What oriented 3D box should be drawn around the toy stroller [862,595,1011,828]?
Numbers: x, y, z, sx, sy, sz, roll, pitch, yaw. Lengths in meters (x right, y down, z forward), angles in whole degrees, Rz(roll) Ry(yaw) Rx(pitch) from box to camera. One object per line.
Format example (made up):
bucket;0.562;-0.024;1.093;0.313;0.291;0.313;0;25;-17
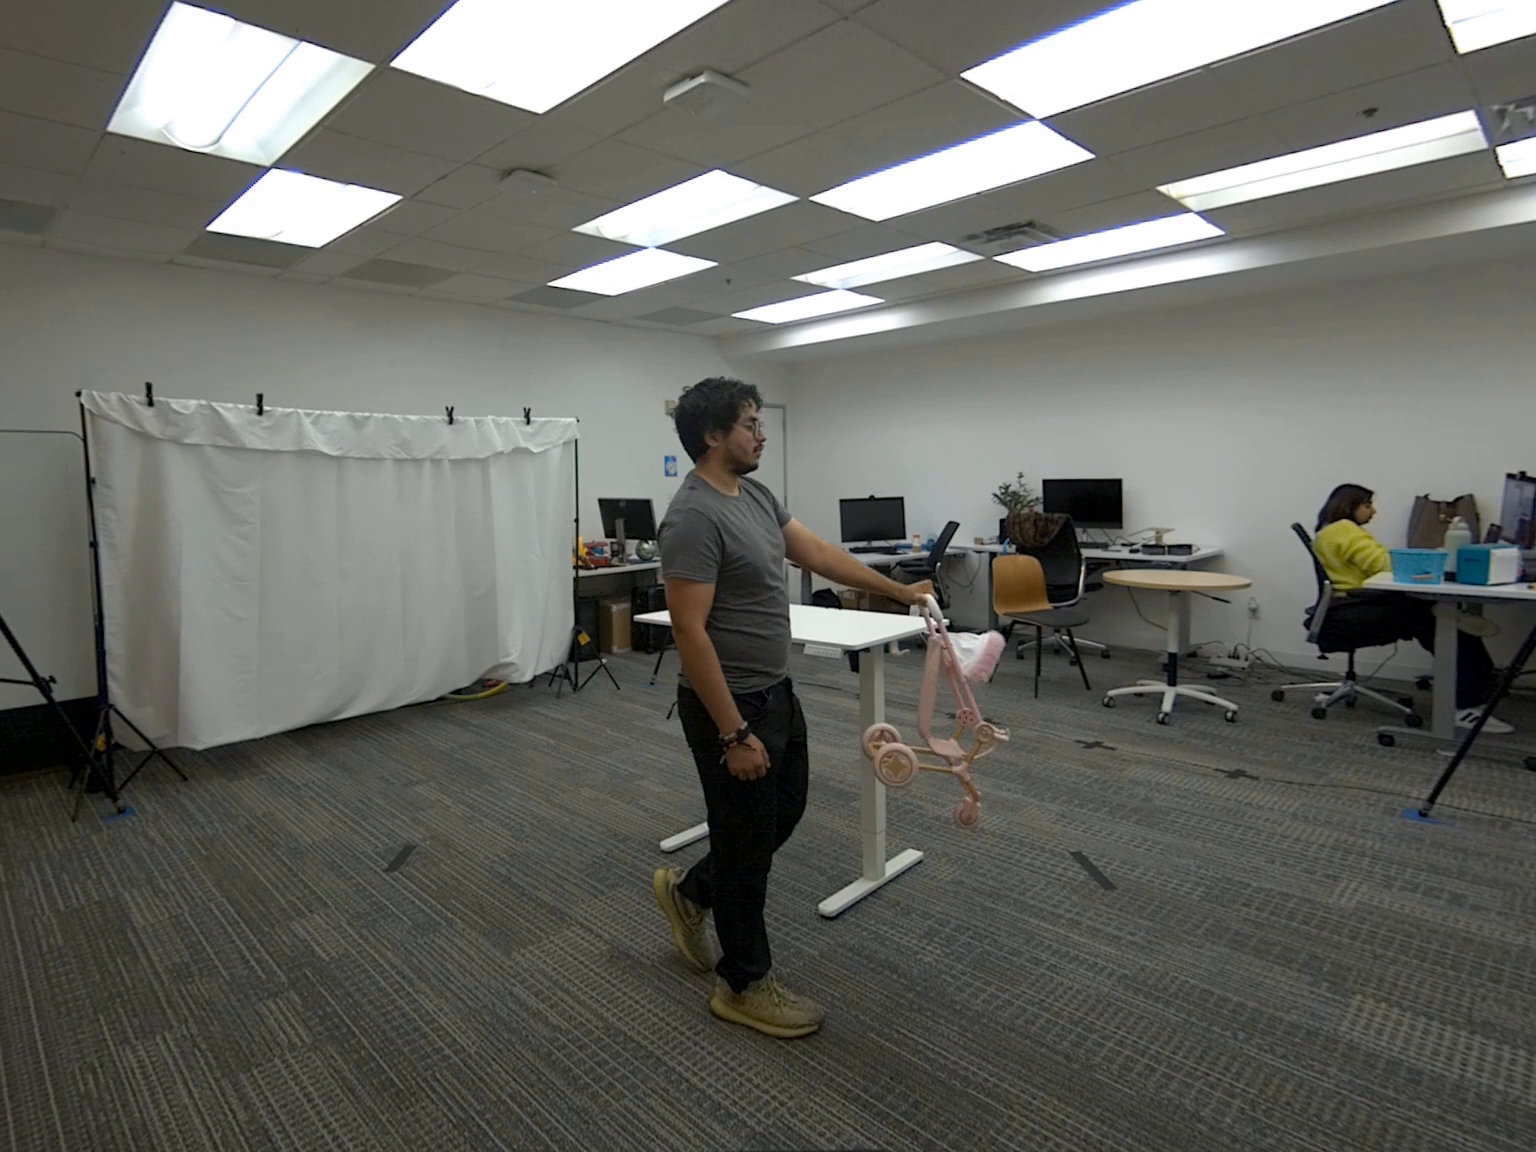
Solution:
toy stroller;0.471;0.355;2.220;0.344;0.535;0.279;20;0;5
